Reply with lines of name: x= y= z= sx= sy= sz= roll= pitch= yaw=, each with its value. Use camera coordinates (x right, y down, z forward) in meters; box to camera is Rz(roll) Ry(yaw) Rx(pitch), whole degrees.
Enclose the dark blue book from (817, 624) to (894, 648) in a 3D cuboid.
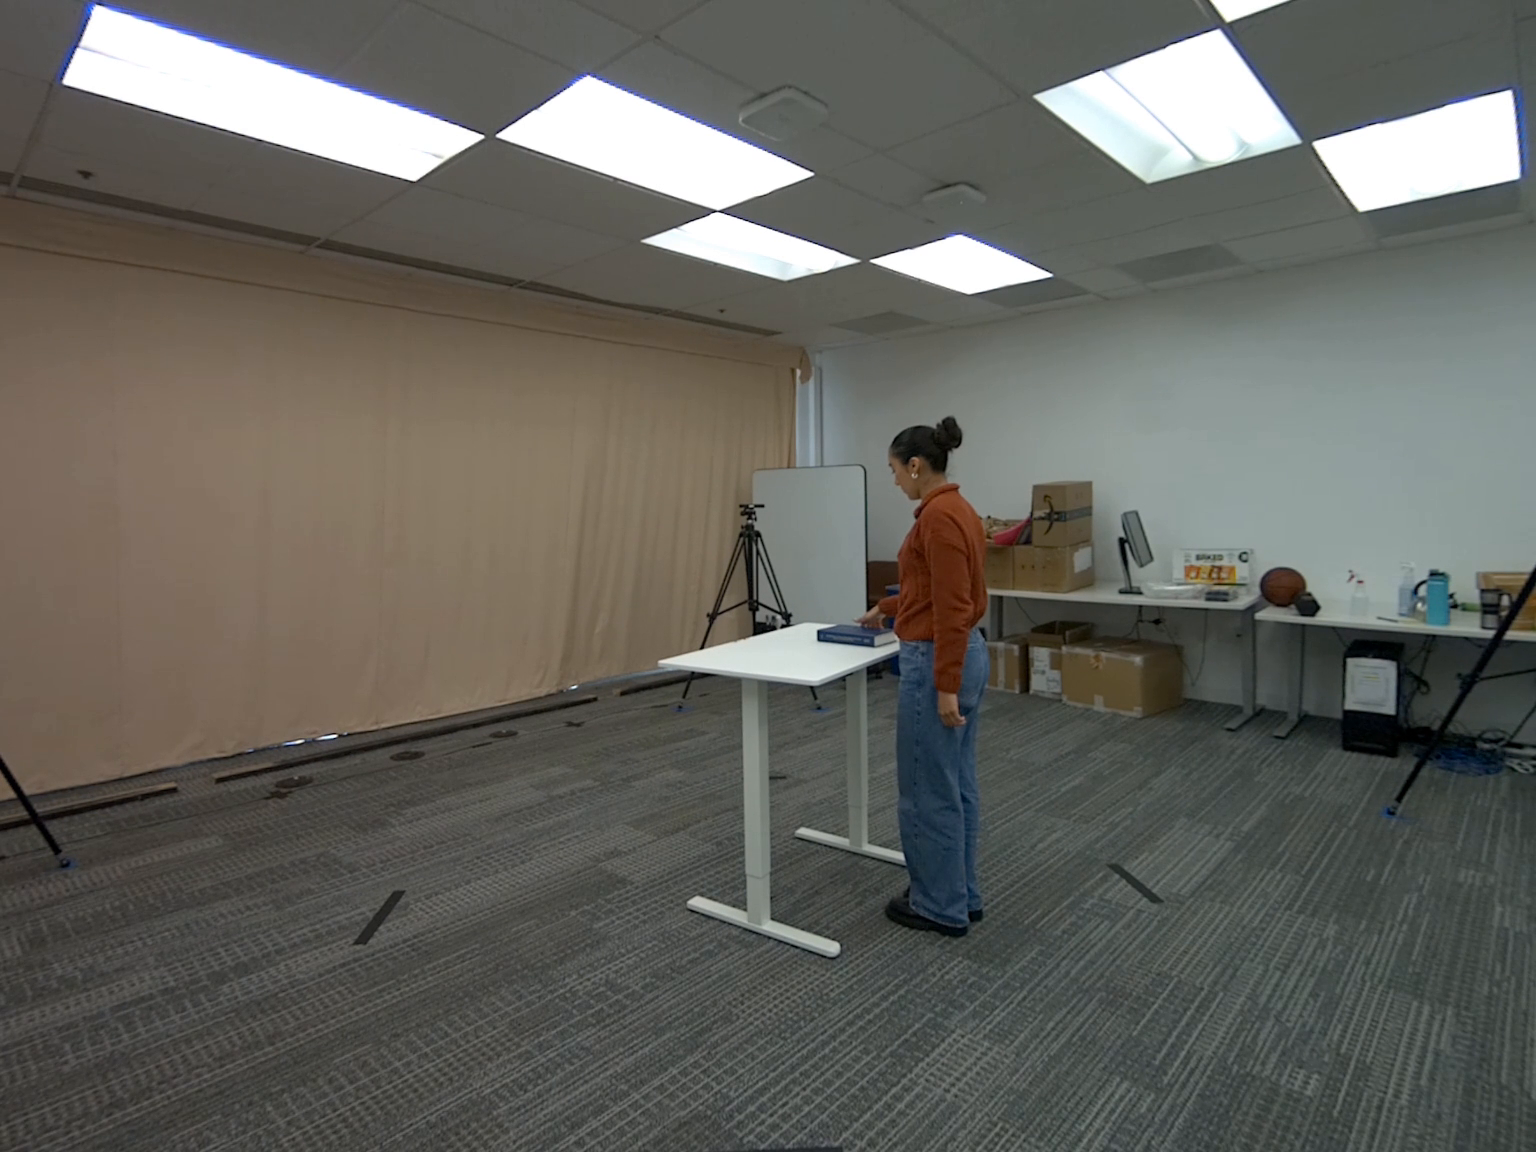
dark blue book: x=0.332 y=0.225 z=3.079 sx=0.253 sy=0.045 sz=0.158 roll=3 pitch=6 yaw=39
